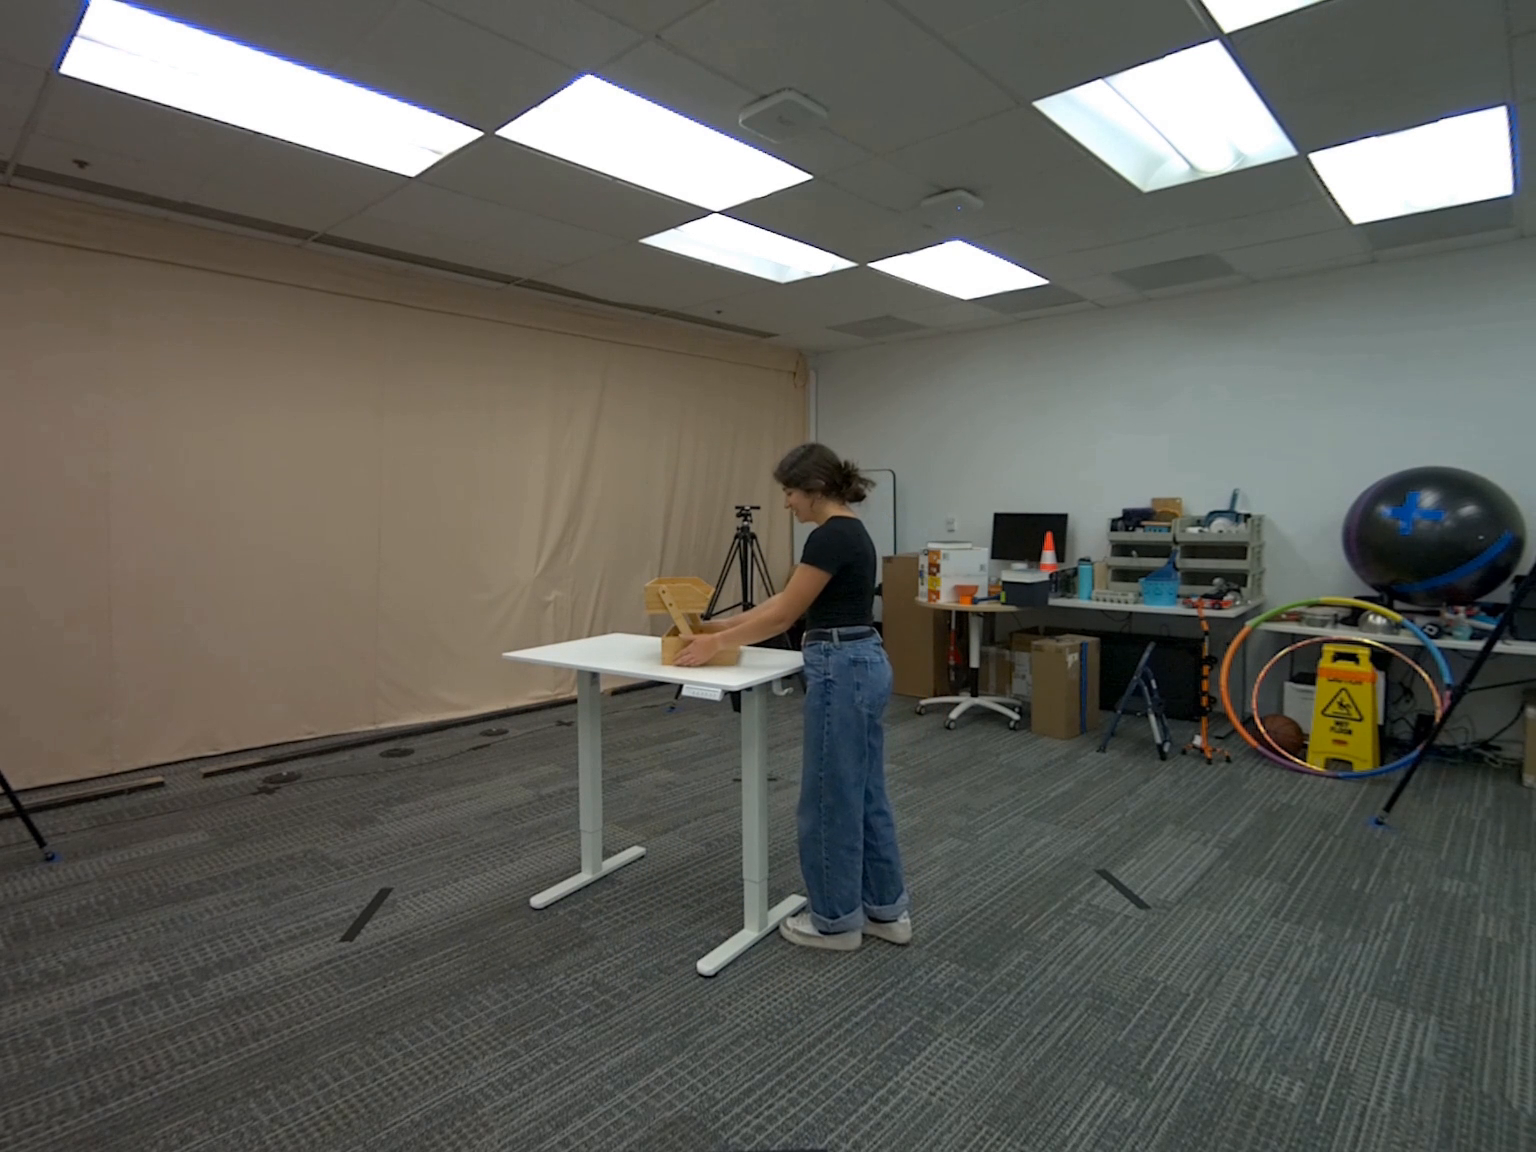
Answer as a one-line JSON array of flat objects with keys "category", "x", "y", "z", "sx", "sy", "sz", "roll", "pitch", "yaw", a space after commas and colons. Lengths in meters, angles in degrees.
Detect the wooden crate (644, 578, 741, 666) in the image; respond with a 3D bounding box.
[{"category": "wooden crate", "x": -0.240, "y": 0.147, "z": 2.834, "sx": 0.303, "sy": 0.273, "sz": 0.324, "roll": -1, "pitch": 4, "yaw": 2}]
